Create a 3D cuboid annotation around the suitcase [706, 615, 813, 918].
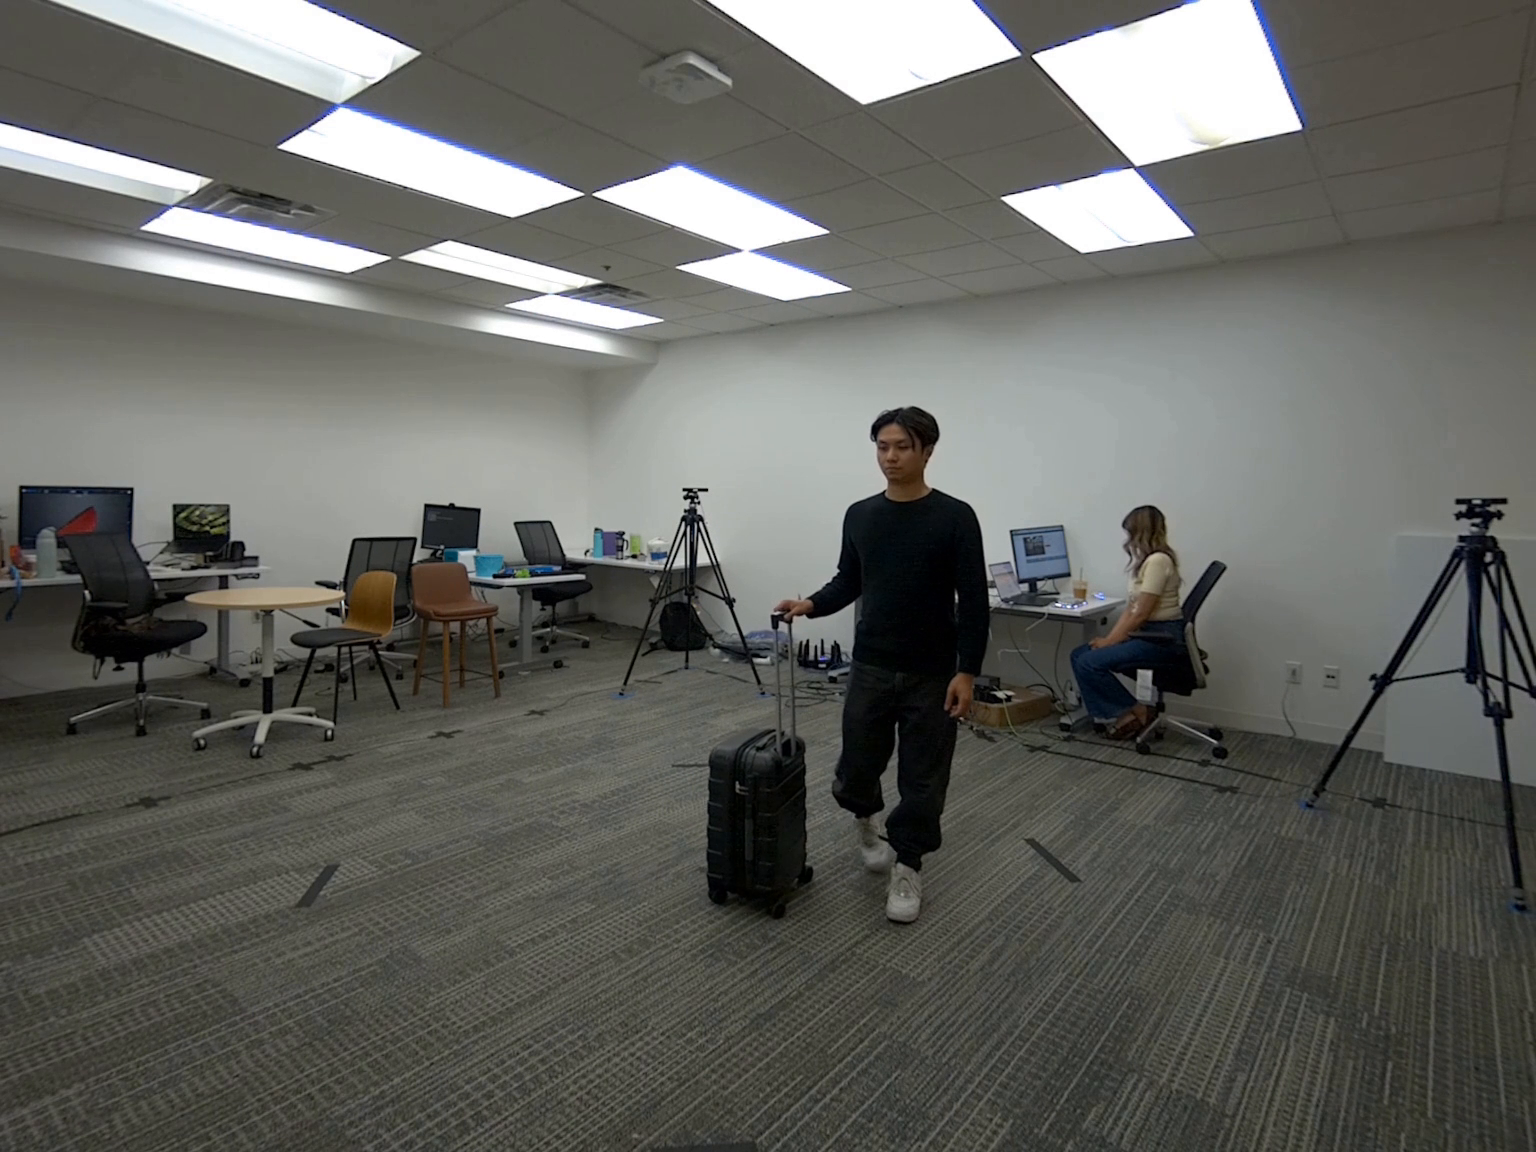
[{"bbox_3d":[-0.048,0.615,2.924,0.263,0.977,0.376,-2,2,23],"label":"suitcase"}]
